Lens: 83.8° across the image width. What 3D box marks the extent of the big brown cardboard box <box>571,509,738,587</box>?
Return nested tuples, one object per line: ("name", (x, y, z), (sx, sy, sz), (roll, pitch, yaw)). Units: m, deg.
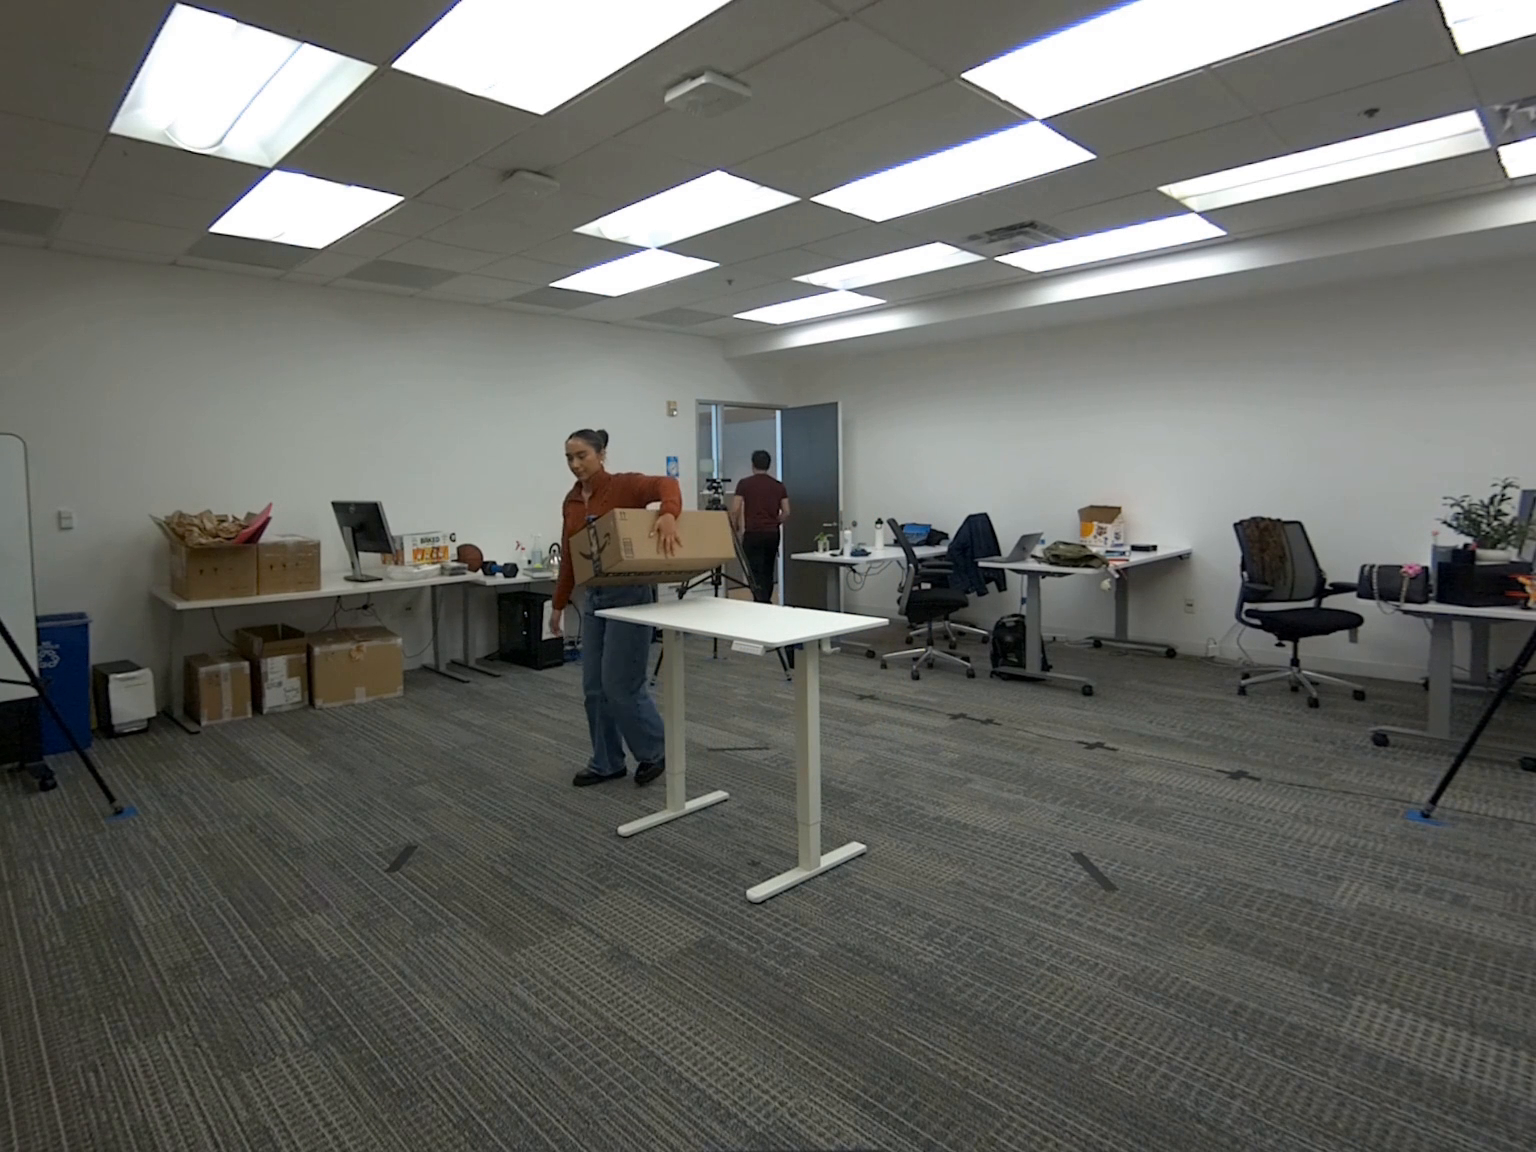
("big brown cardboard box", (-0.496, -0.120, 3.668), (0.572, 0.236, 0.424), (-1, -15, -39))
